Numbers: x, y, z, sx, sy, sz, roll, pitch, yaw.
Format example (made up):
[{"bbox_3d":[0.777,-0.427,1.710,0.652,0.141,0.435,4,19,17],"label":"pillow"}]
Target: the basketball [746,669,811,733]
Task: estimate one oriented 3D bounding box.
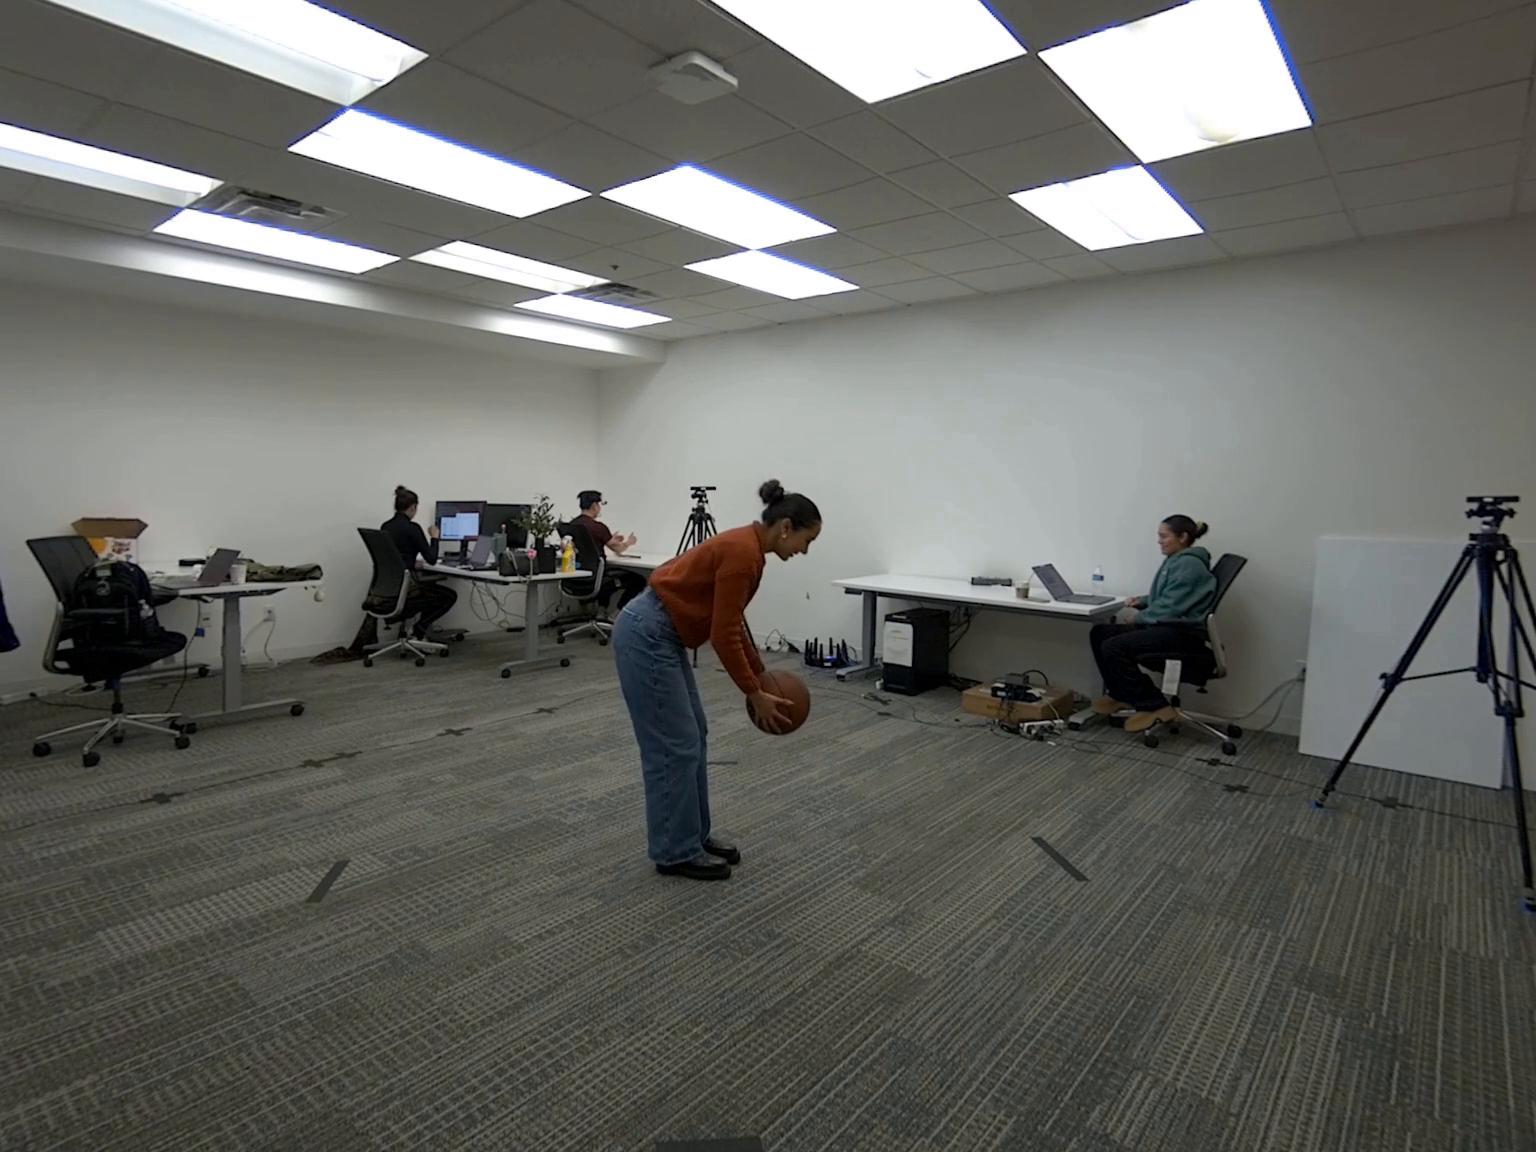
[{"bbox_3d":[0.041,0.455,3.097,0.236,0.235,0.237,1,4,-2],"label":"basketball"}]
